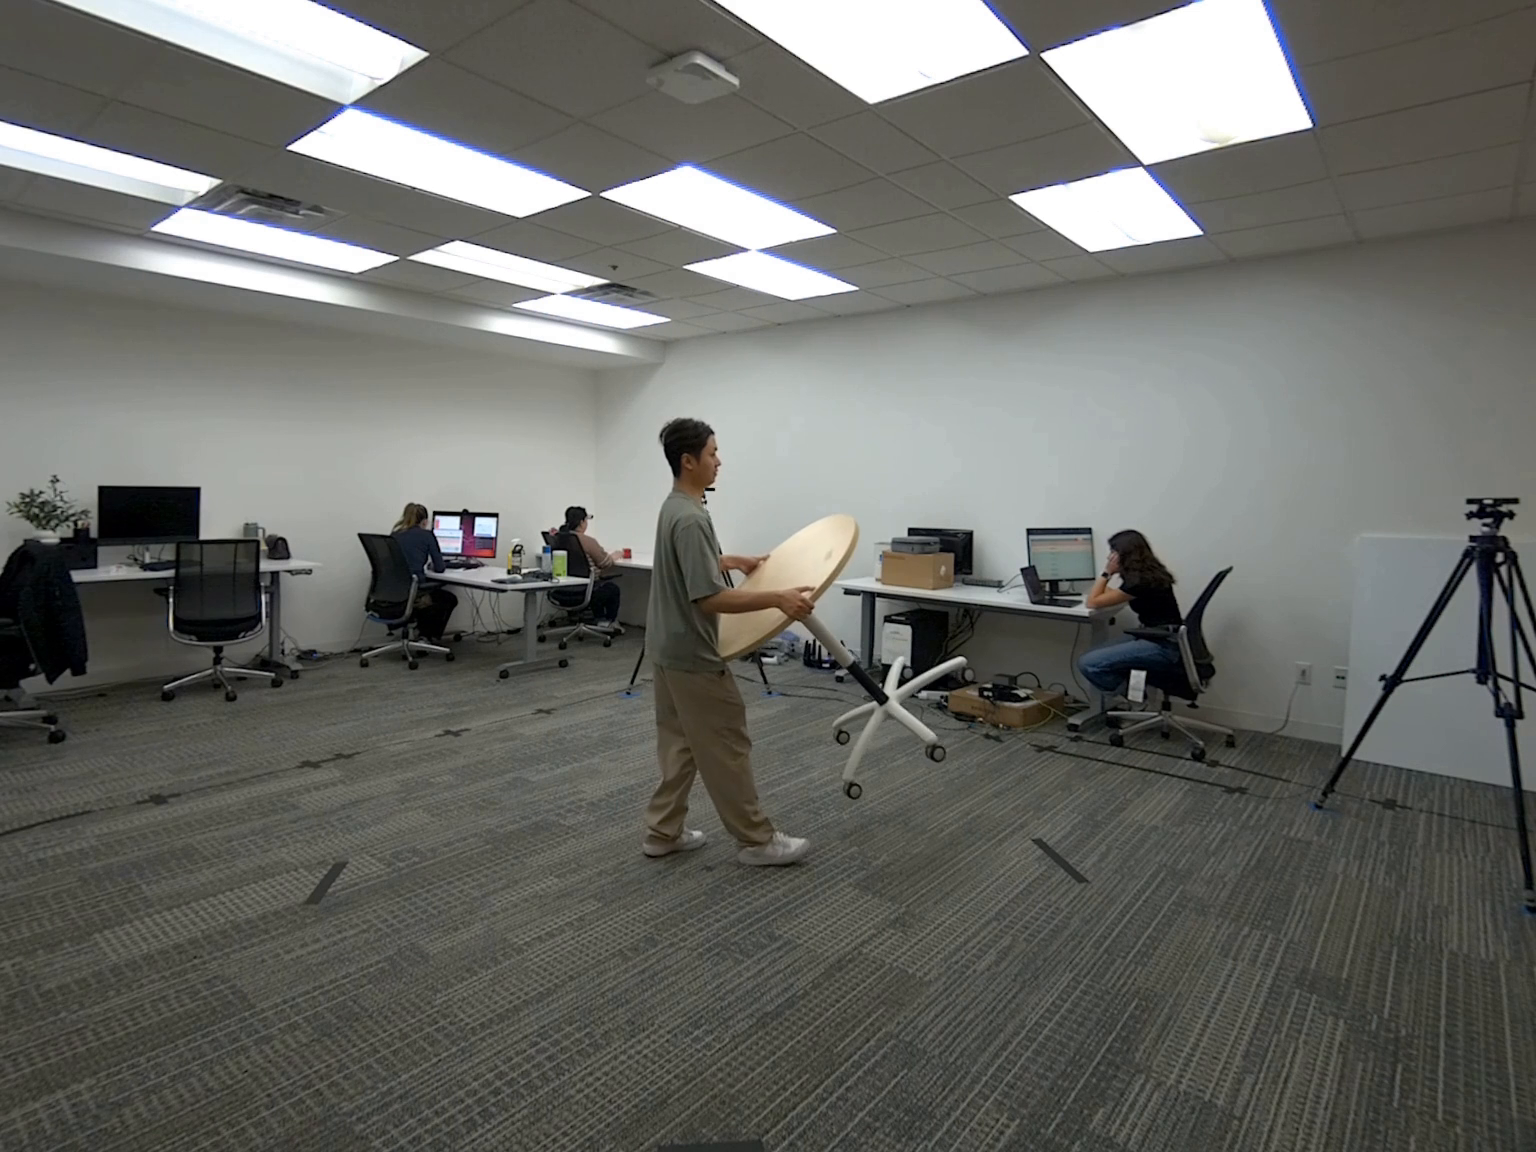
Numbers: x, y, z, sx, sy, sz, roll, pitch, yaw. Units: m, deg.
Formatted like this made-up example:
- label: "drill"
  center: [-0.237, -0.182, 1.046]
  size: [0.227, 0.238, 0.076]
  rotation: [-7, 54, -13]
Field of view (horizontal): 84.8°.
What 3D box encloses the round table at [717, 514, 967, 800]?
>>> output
- label: "round table"
  center: [0.286, 0.316, 3.310]
  size: [0.786, 0.773, 0.798]
  rotation: [-41, 14, 10]
